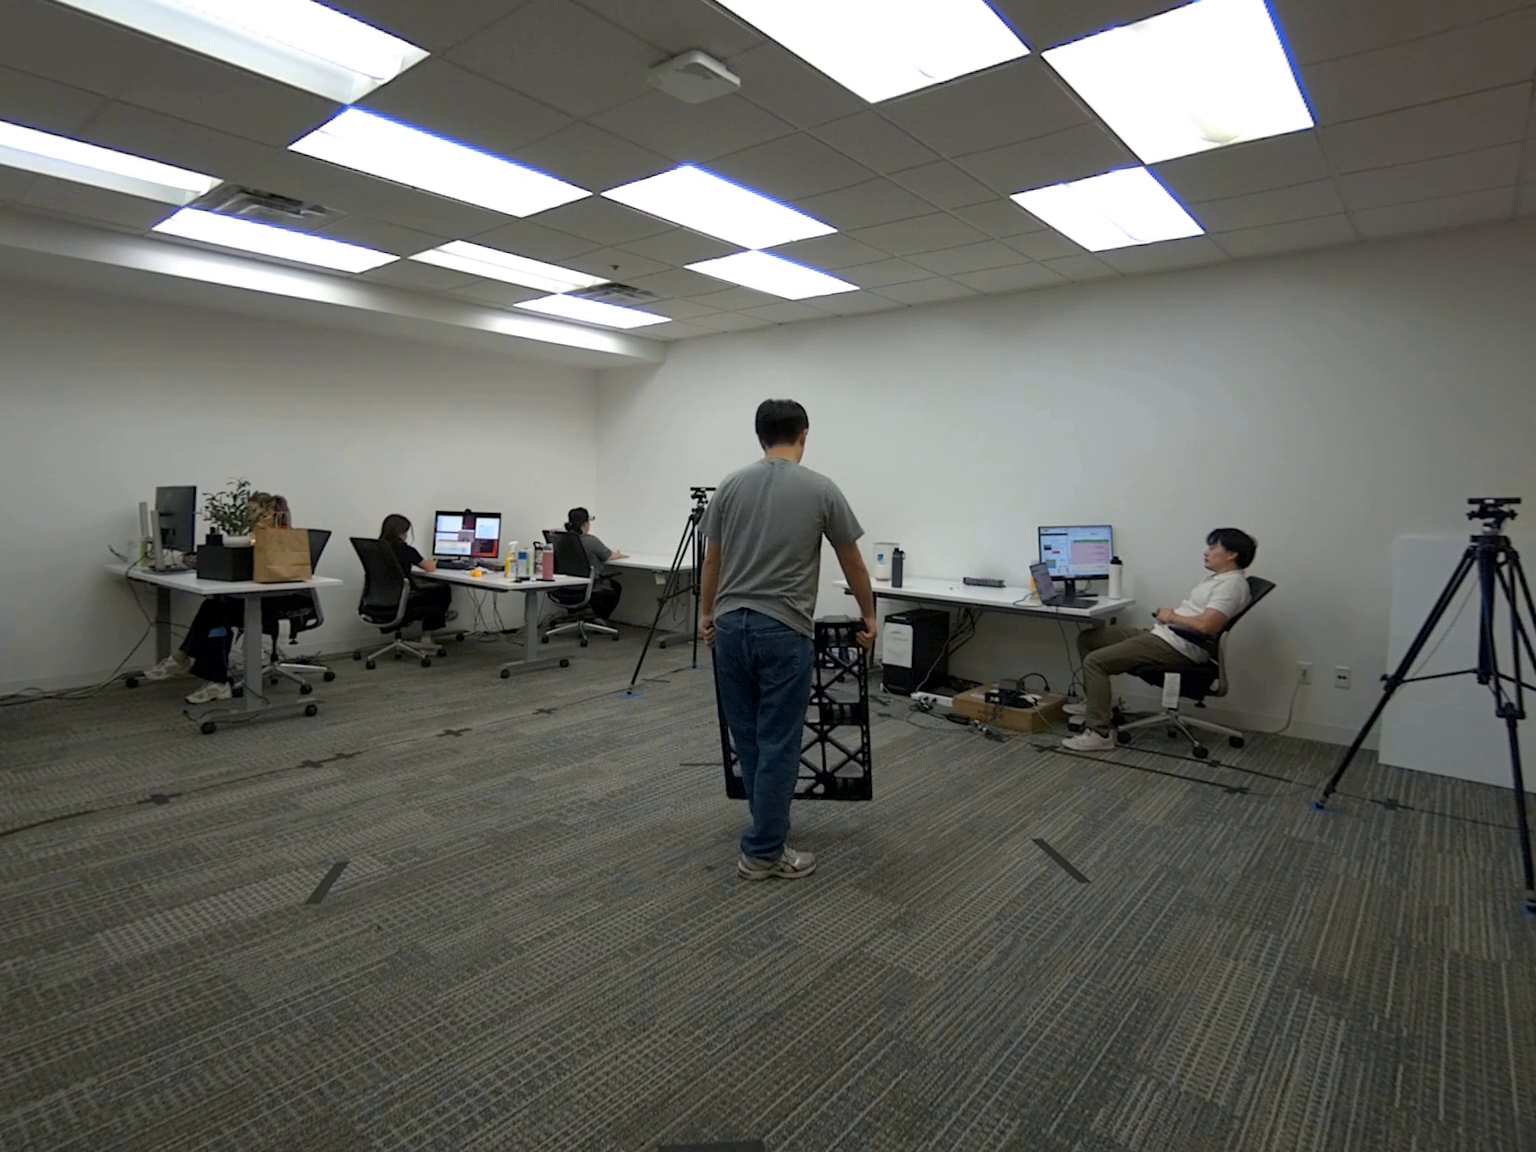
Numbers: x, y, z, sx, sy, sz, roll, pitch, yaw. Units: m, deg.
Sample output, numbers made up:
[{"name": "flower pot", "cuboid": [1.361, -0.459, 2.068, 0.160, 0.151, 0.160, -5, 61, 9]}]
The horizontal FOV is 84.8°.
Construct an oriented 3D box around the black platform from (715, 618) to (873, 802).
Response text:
[{"name": "black platform", "cuboid": [0.093, 0.536, 3.432, 0.611, 0.792, 0.144, -1, 17, 9]}]
